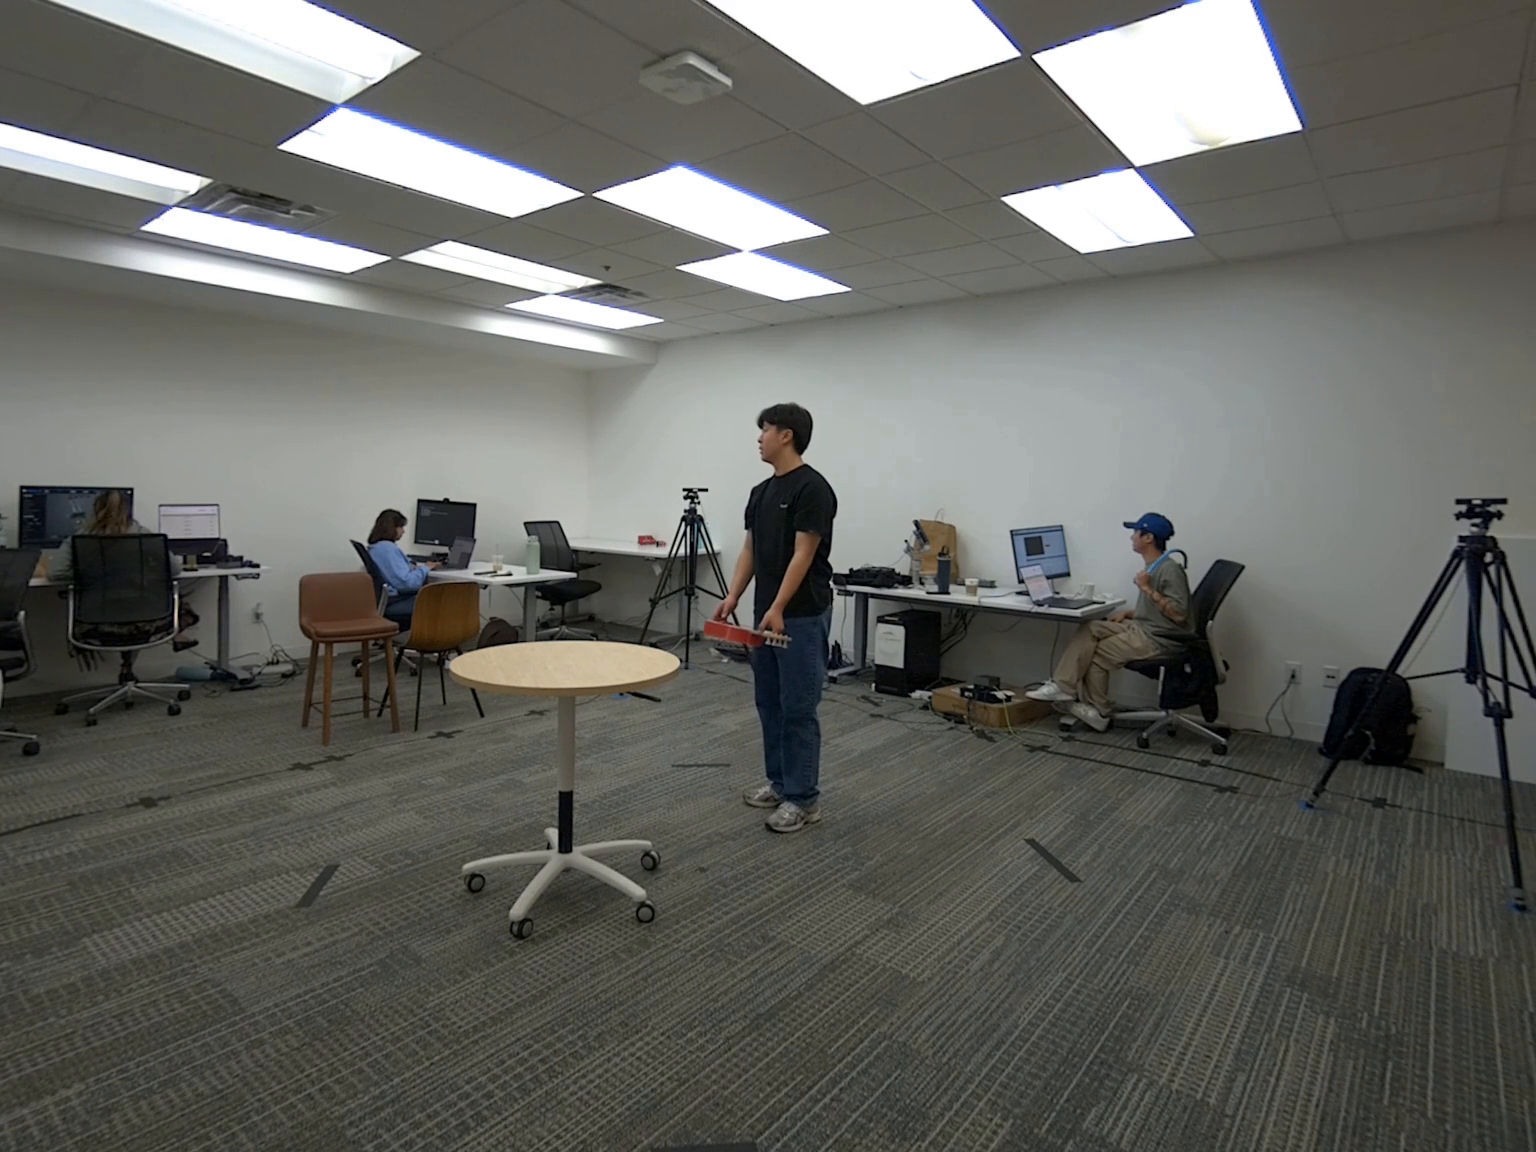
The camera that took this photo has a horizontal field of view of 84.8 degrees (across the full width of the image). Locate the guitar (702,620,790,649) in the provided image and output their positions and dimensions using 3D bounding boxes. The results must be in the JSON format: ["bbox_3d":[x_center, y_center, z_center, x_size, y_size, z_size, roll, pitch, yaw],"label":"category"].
[{"bbox_3d":[-0.109,0.235,3.424,0.188,0.071,0.509,14,-4,-23],"label":"guitar"}]
